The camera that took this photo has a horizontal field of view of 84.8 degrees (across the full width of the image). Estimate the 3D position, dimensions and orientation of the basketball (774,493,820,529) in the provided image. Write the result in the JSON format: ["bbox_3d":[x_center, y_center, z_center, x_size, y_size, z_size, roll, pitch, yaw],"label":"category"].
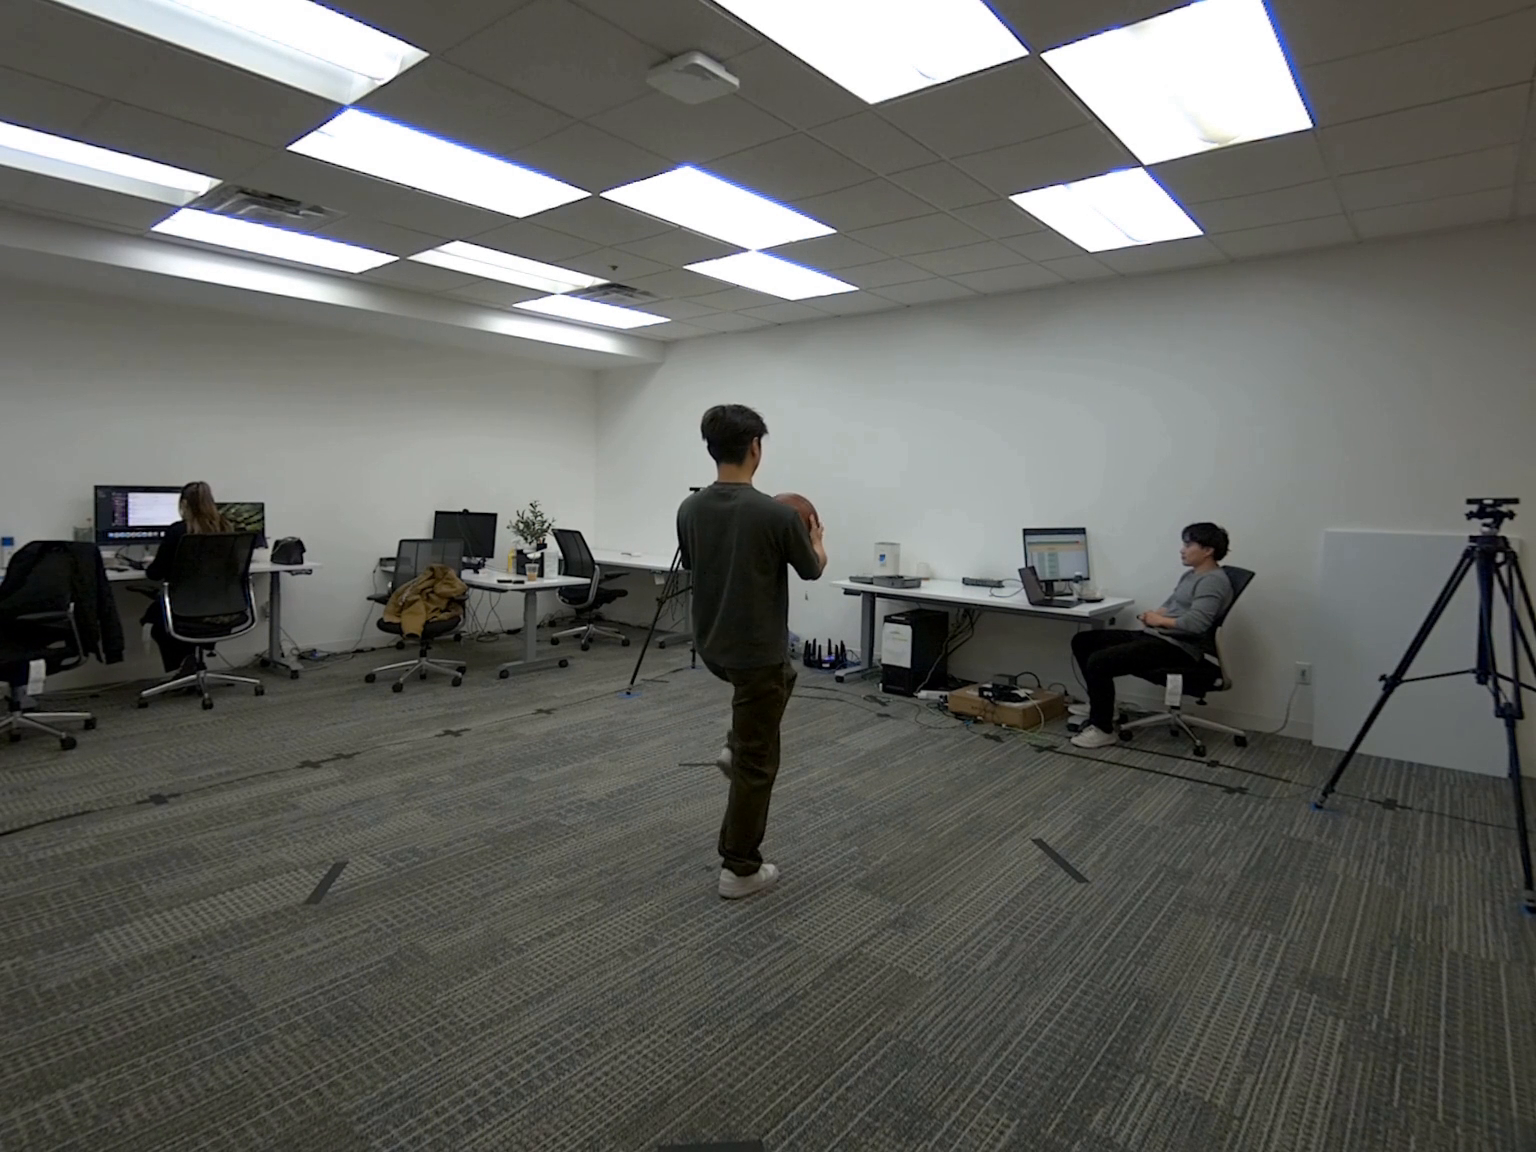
[{"bbox_3d":[0.071,-0.191,3.292,0.235,0.235,0.237,1,4,-2],"label":"basketball"}]
